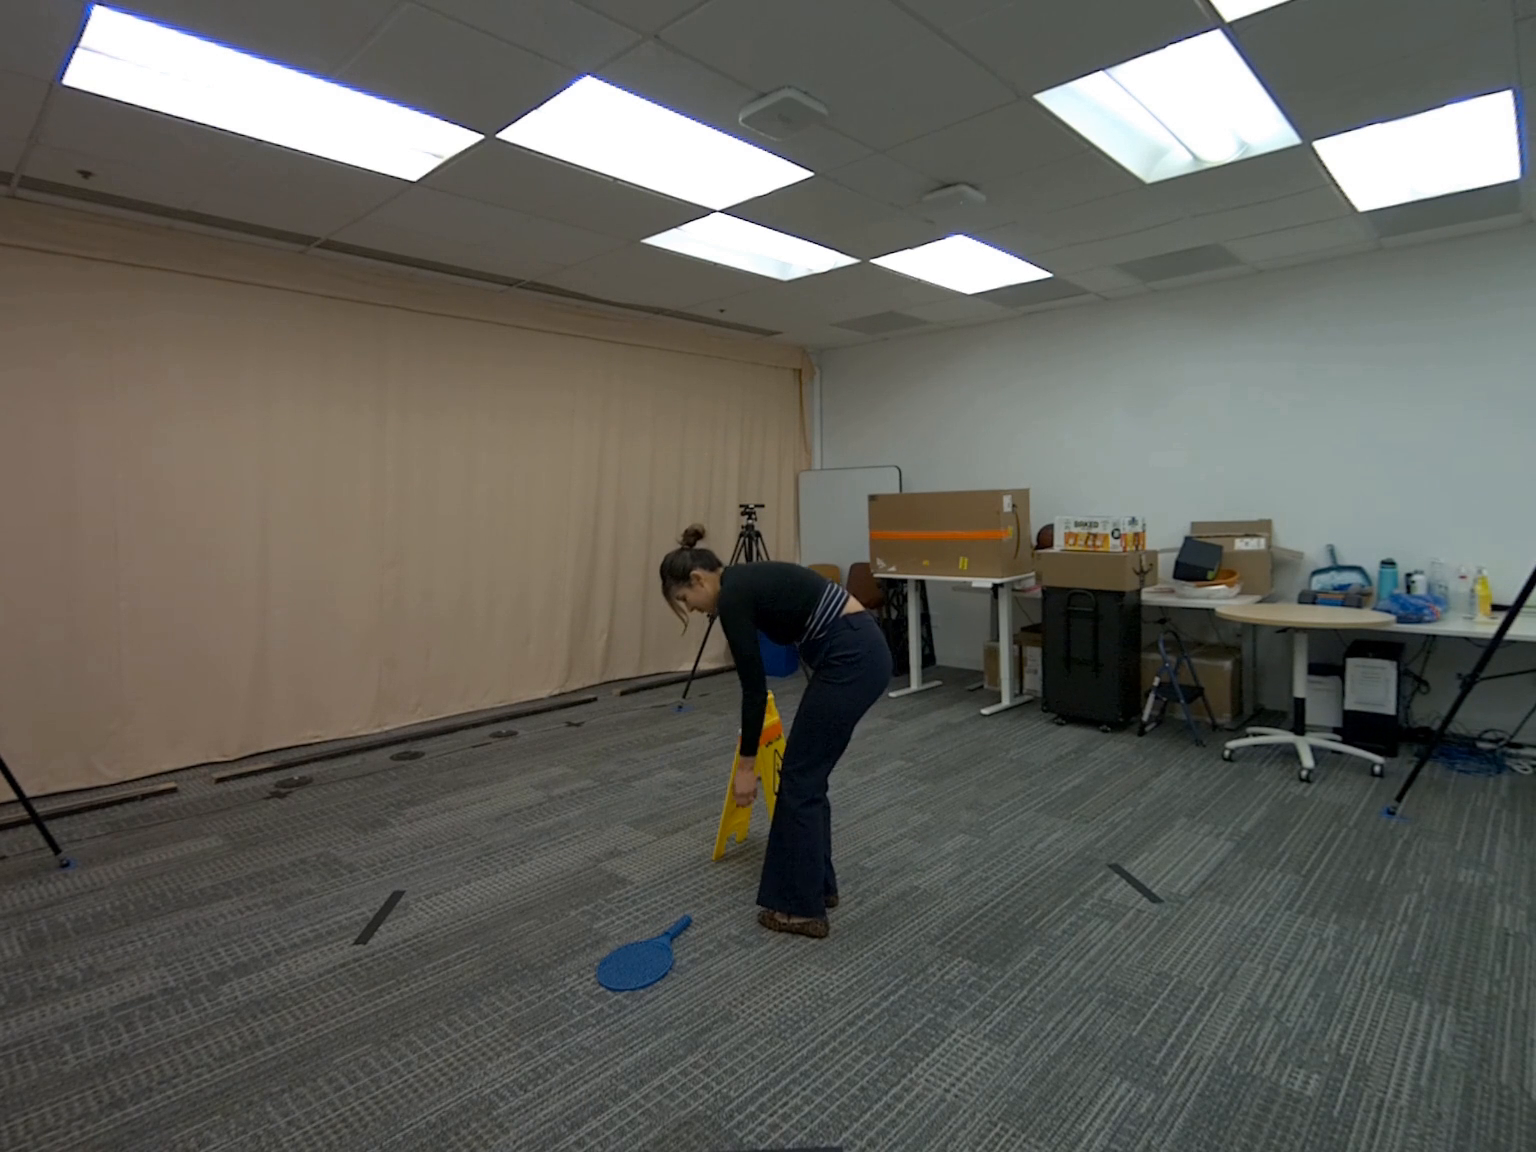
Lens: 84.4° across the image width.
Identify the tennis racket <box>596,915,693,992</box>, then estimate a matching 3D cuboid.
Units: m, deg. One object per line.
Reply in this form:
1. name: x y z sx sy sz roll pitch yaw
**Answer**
1. tennis racket: -0.363 1.166 2.615 0.219 0.031 0.423 2 7 26
